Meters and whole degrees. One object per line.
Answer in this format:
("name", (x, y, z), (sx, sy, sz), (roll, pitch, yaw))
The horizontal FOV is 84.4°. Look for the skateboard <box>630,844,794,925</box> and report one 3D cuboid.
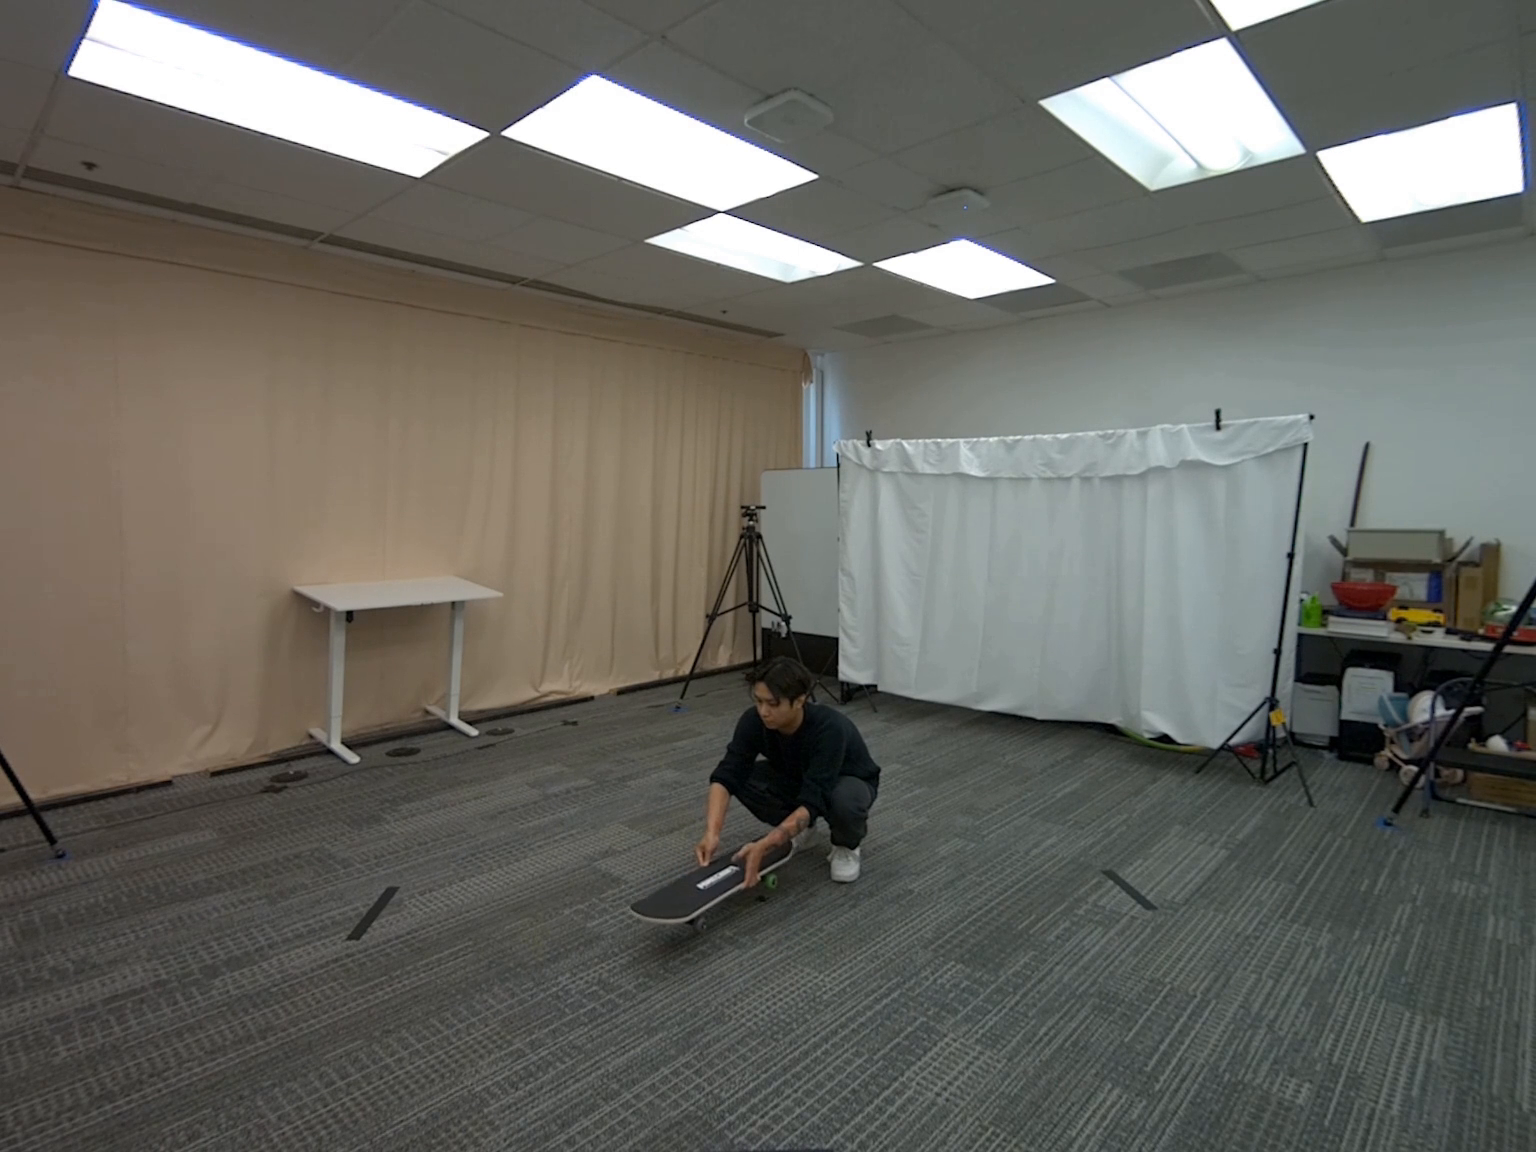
("skateboard", (-0.167, 1.044, 2.826), (0.199, 0.110, 0.762), (2, 3, 35))
